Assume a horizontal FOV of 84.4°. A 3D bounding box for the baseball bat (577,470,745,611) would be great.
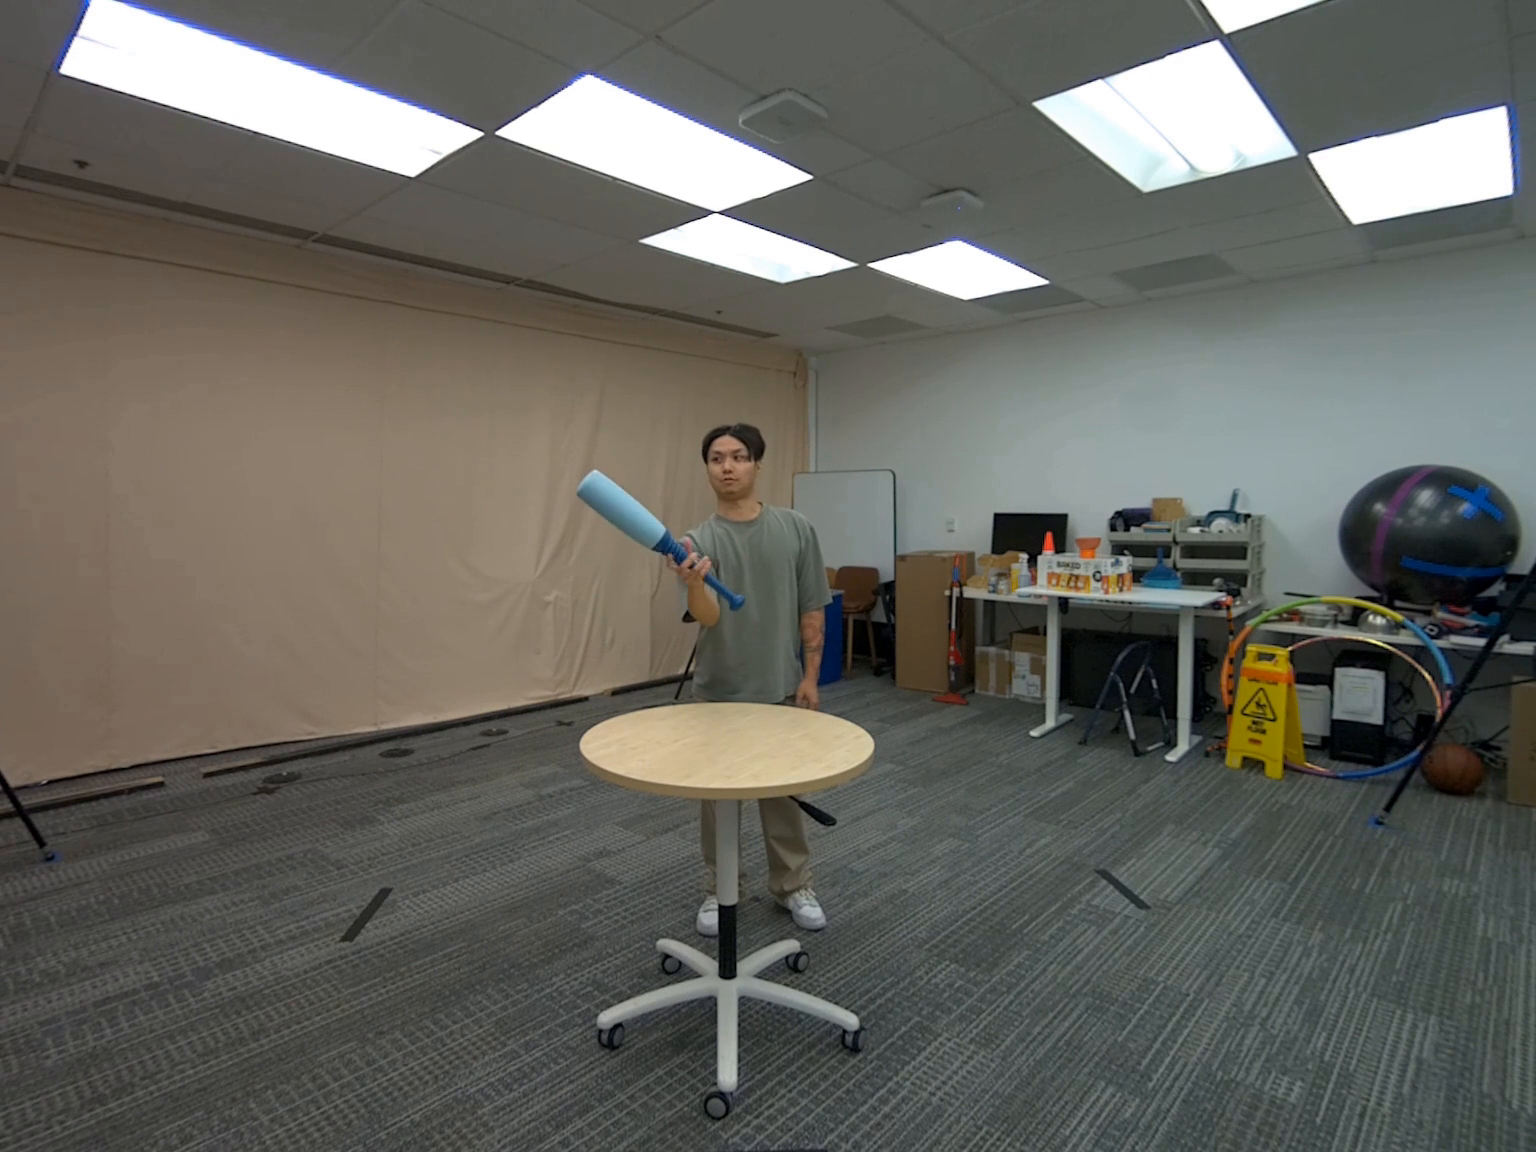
[{"bbox_3d":[-0.283,-0.066,2.235,0.536,0.089,0.090,39,-5,-11],"label":"baseball bat"}]
